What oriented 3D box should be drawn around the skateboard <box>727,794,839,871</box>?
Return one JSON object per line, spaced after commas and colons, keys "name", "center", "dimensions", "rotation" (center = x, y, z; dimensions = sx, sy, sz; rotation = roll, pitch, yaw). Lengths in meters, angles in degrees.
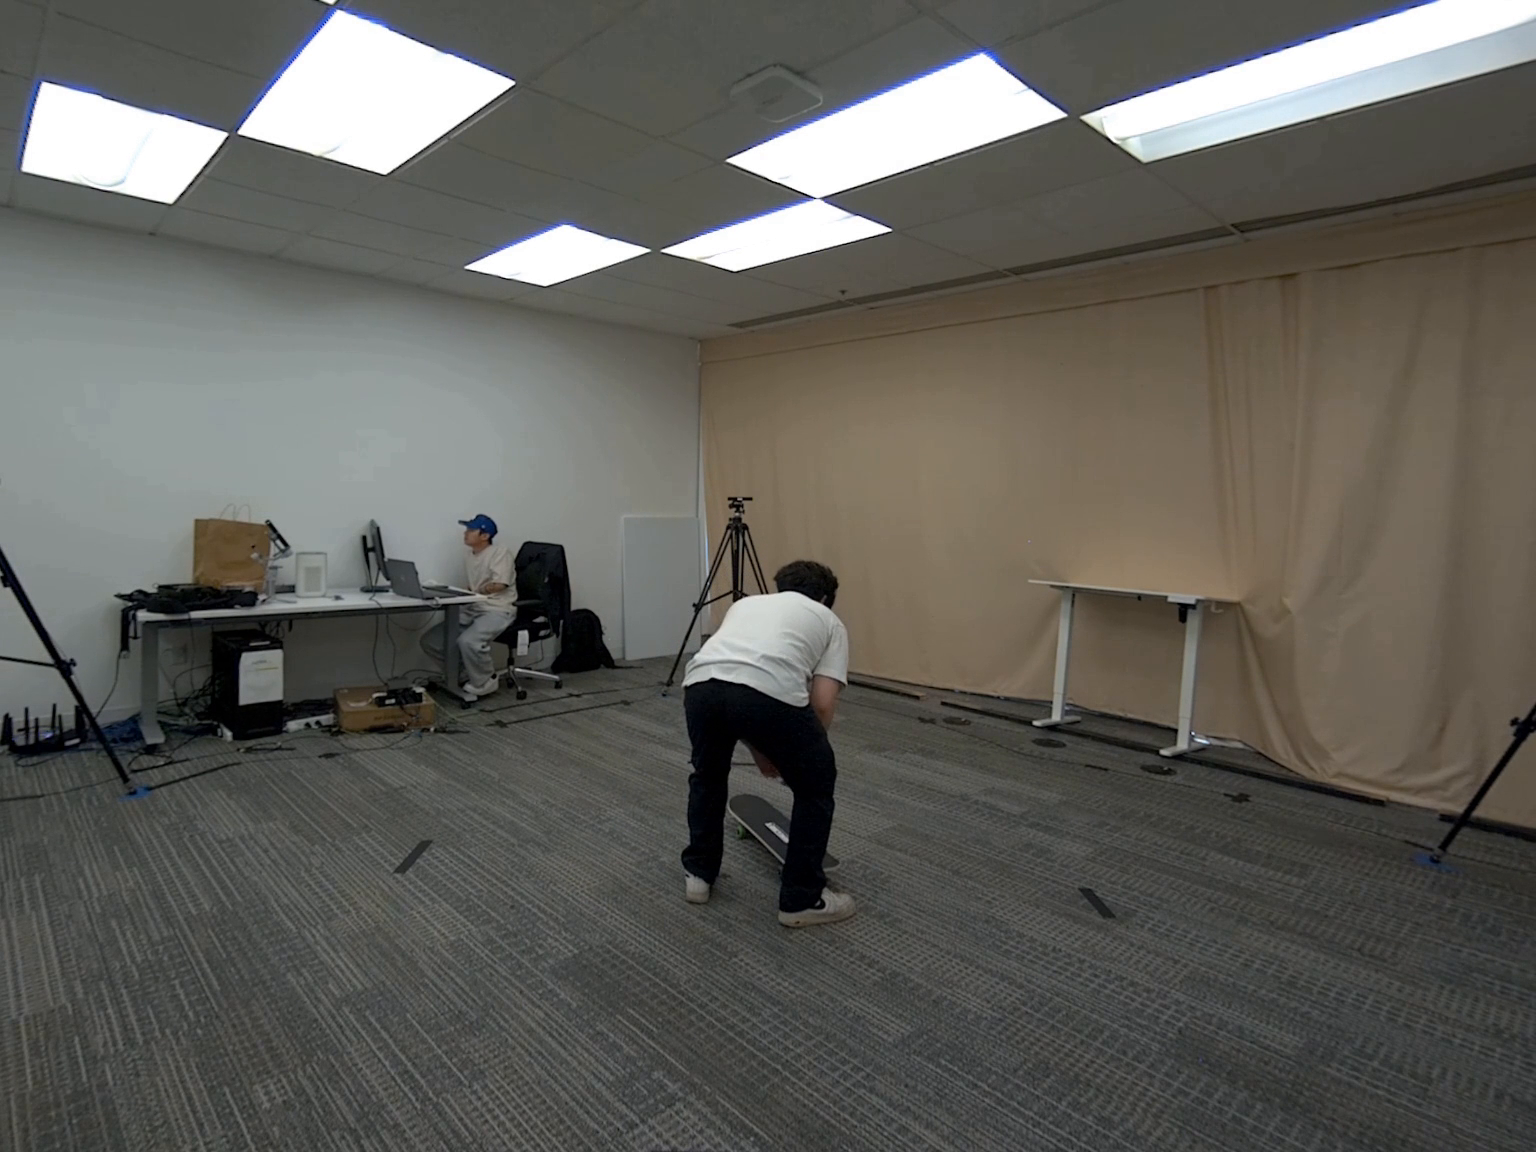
{"name": "skateboard", "center": [0.034, 1.042, 3.308], "dimensions": [0.190, 0.110, 0.801], "rotation": [0, 5, -23]}
